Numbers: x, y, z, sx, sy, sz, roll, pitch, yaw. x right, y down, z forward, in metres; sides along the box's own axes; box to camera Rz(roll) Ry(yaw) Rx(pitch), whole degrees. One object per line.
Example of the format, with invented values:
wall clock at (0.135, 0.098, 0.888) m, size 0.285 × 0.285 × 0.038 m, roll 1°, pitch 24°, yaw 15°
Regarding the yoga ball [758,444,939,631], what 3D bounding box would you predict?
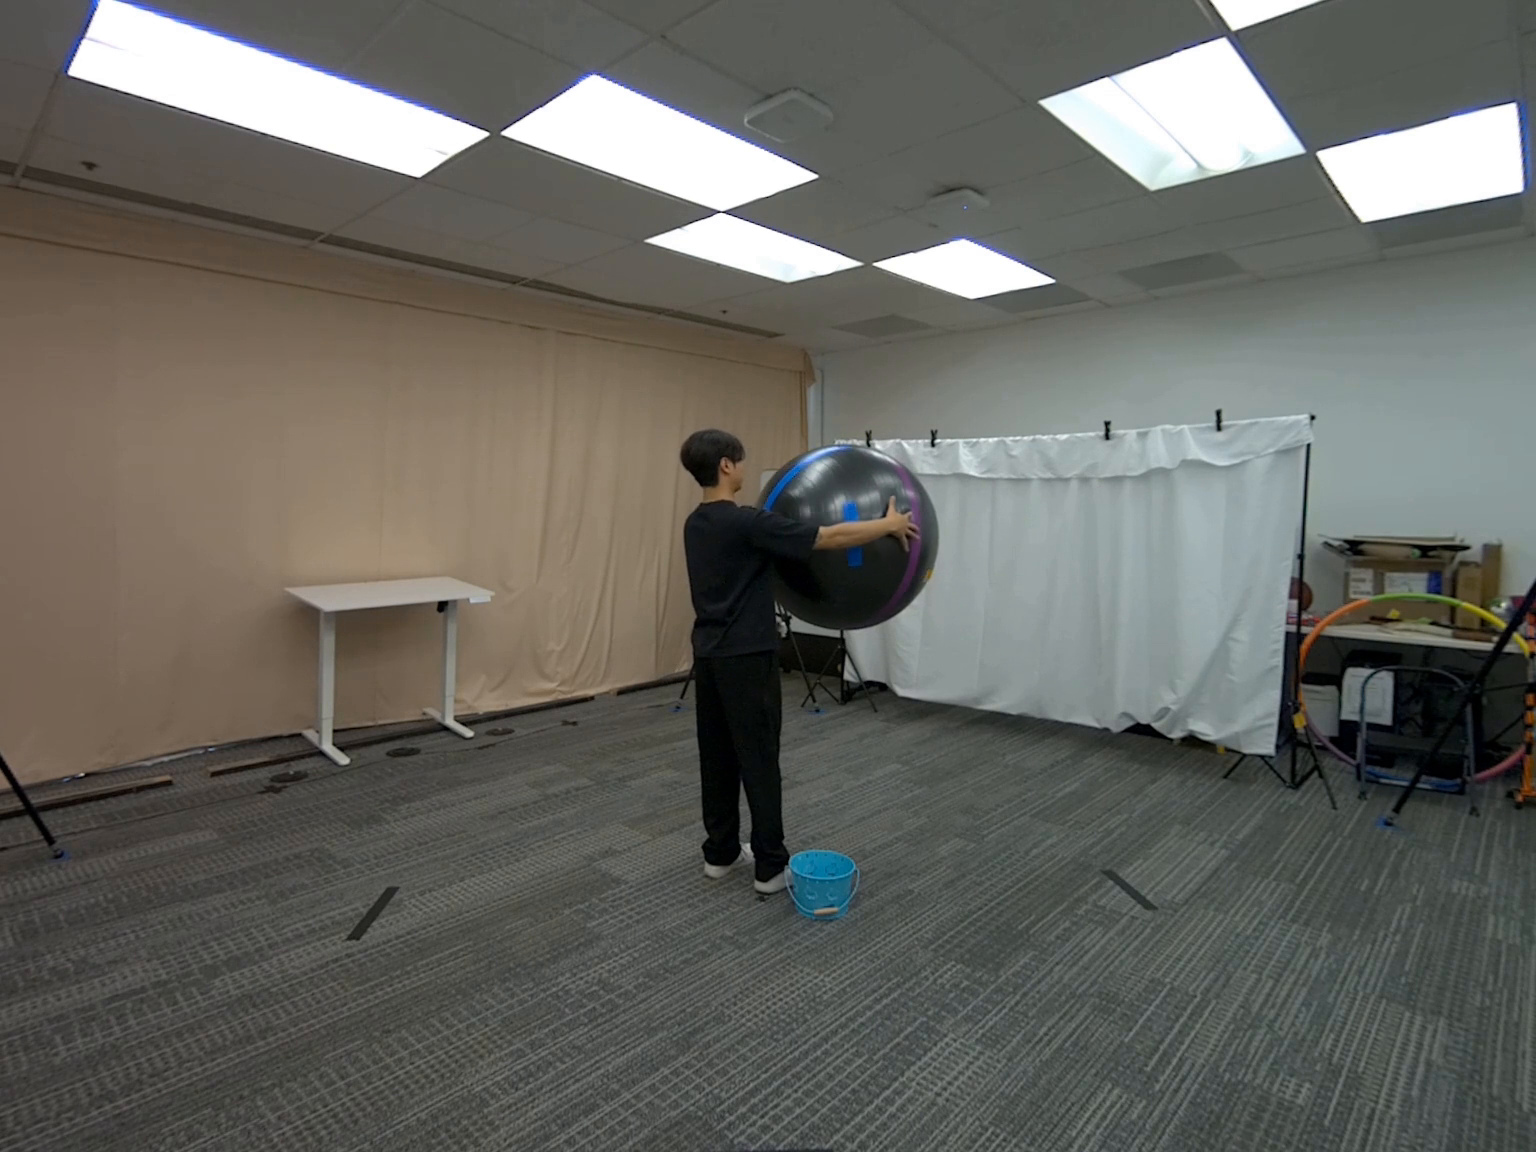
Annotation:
yoga ball at (0.312, -0.156, 3.446) m, size 0.757 × 0.756 × 0.761 m, roll 0°, pitch 4°, yaw -2°
